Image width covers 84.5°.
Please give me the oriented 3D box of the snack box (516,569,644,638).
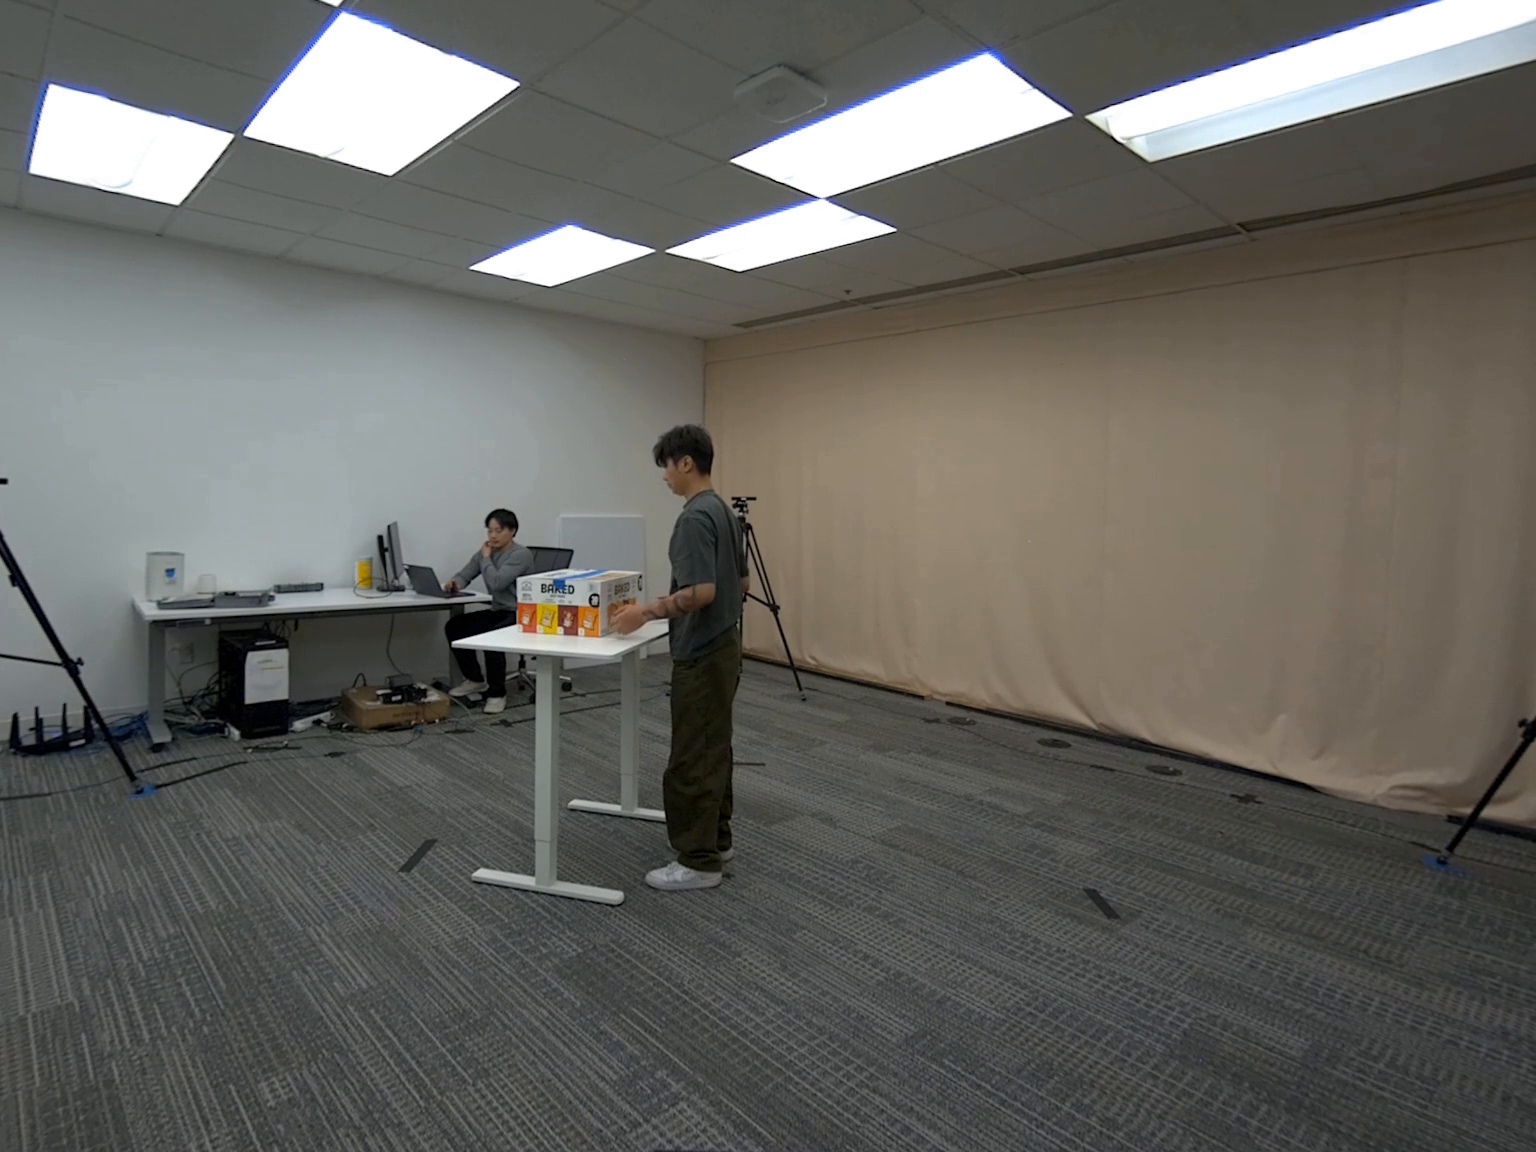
[{"bbox_3d":[-0.722,0.096,3.259,0.344,0.205,0.401,3,5,14],"label":"snack box"}]
